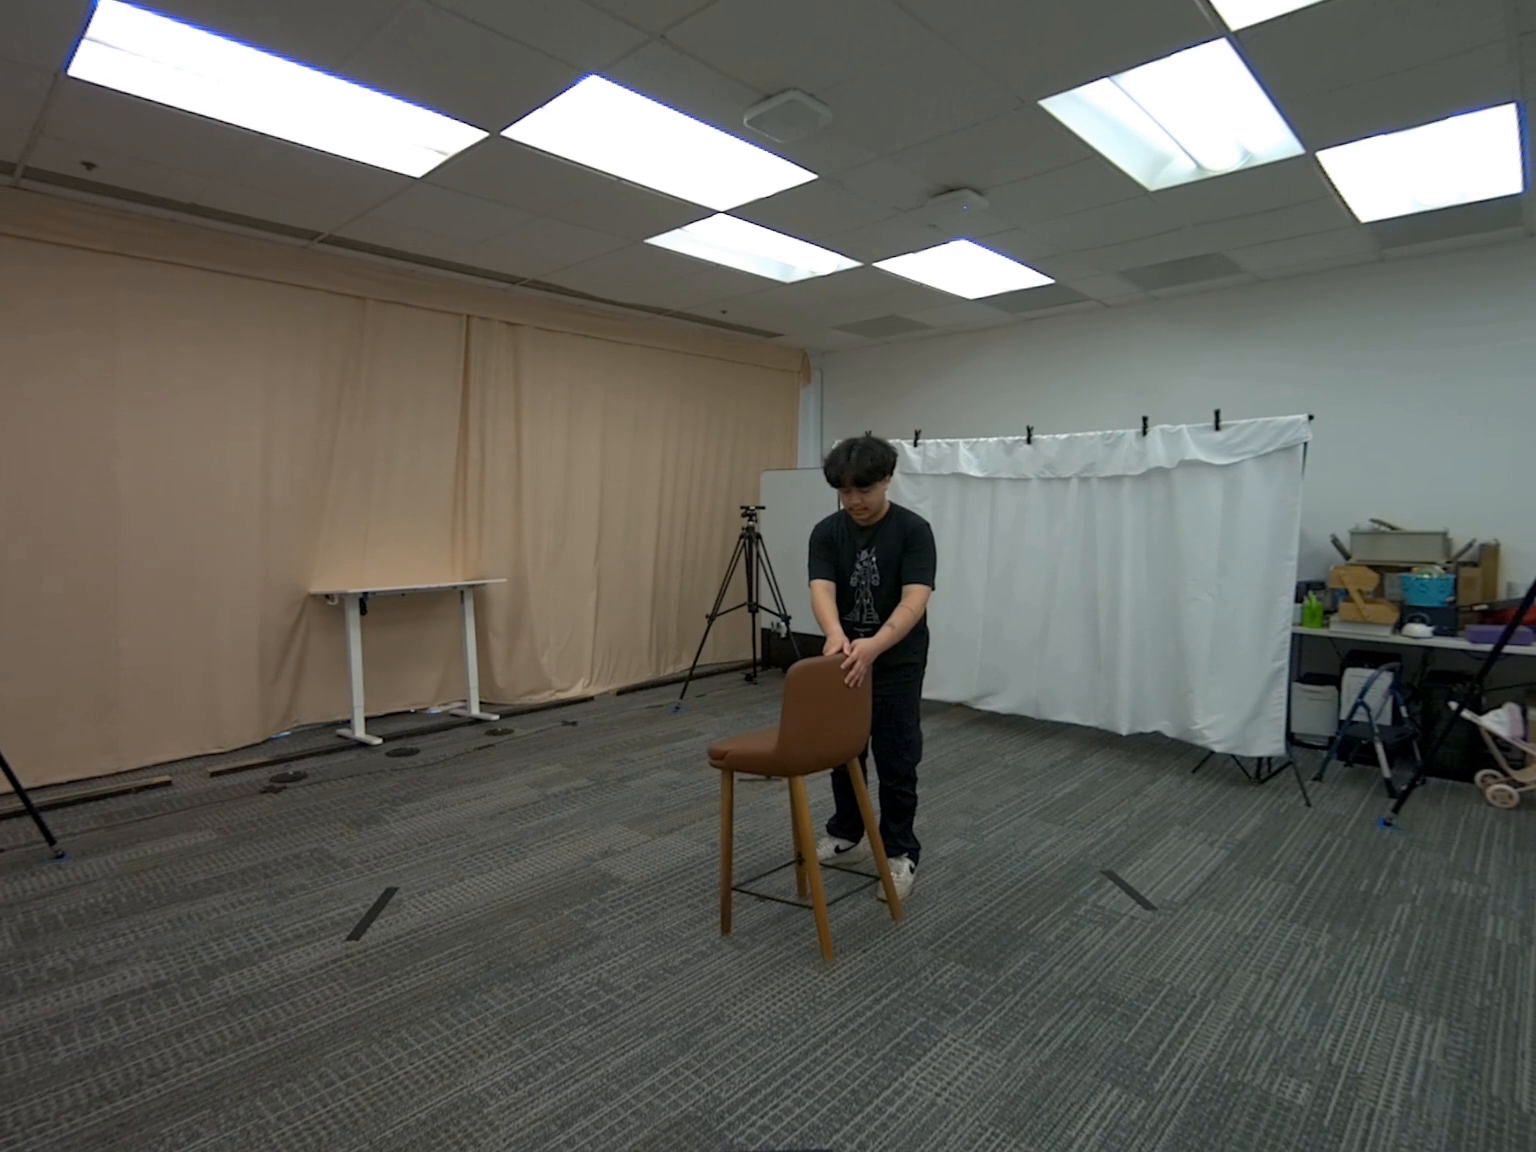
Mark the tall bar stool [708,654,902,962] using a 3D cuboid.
[{"bbox_3d":[0.100,0.698,2.736,0.442,0.891,0.481,-3,-3,-44],"label":"tall bar stool"}]
